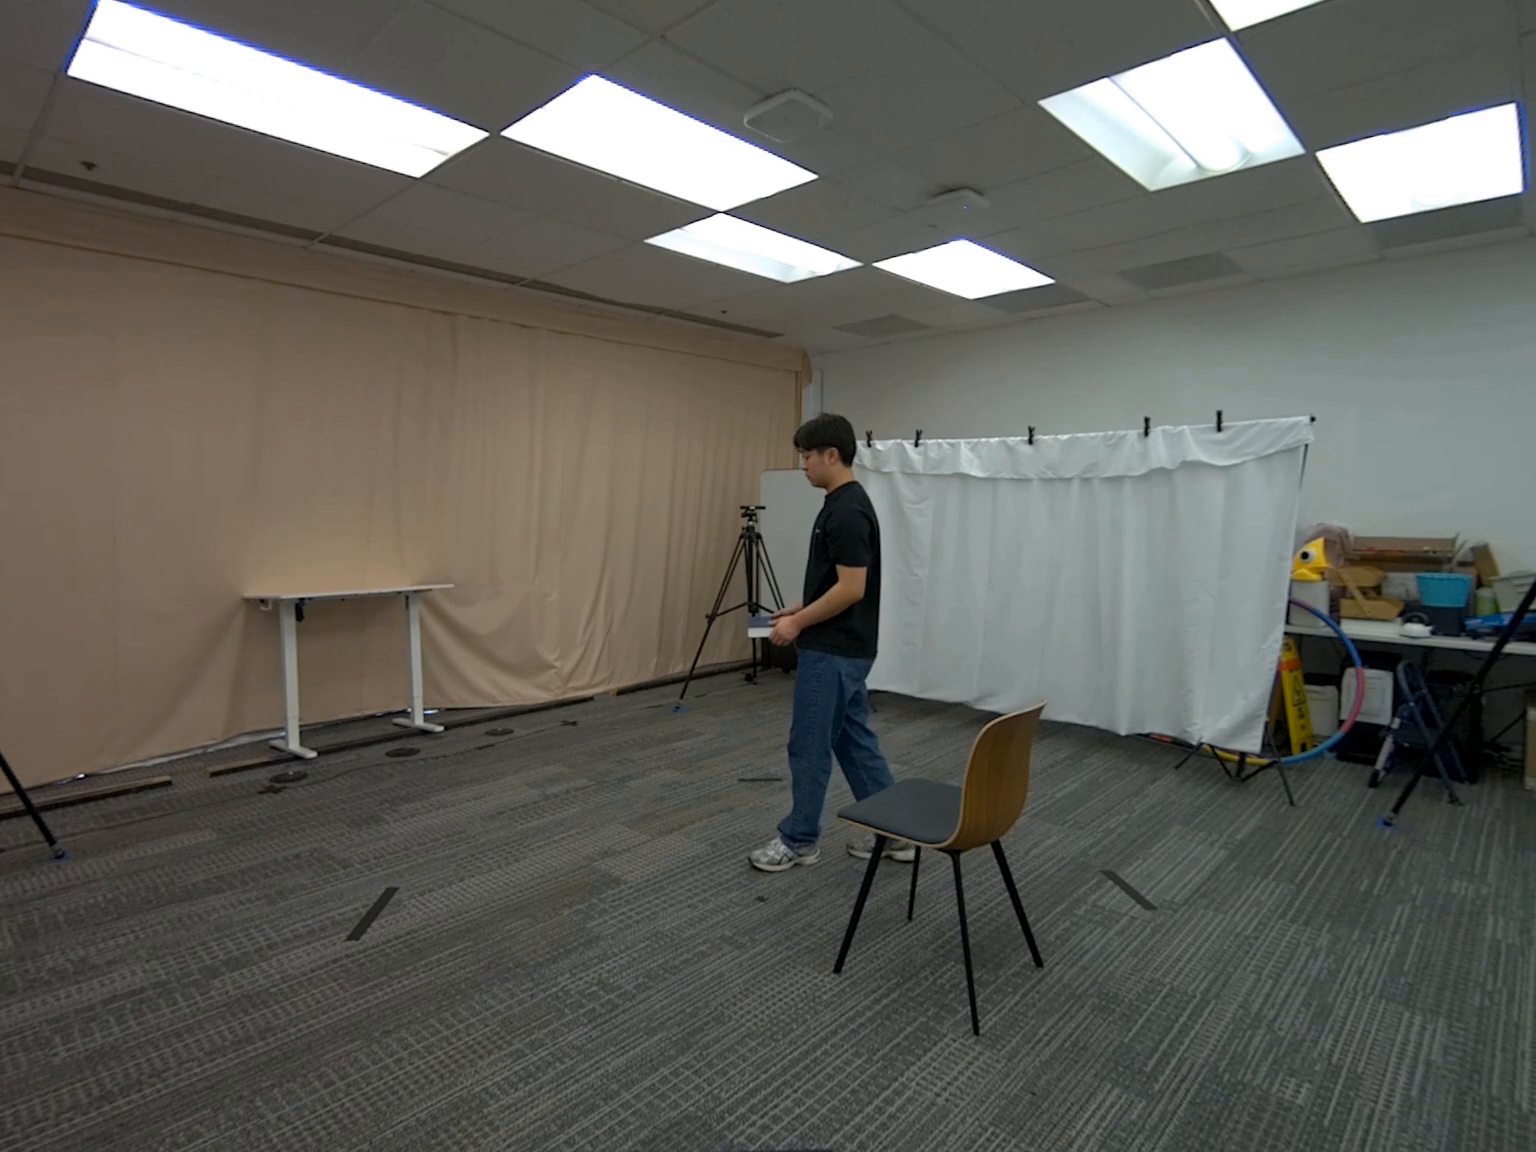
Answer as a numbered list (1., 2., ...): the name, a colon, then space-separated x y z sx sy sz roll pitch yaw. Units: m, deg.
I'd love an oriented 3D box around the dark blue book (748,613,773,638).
1. dark blue book: 0.020 0.194 3.308 0.164 0.045 0.245 -2 8 1
